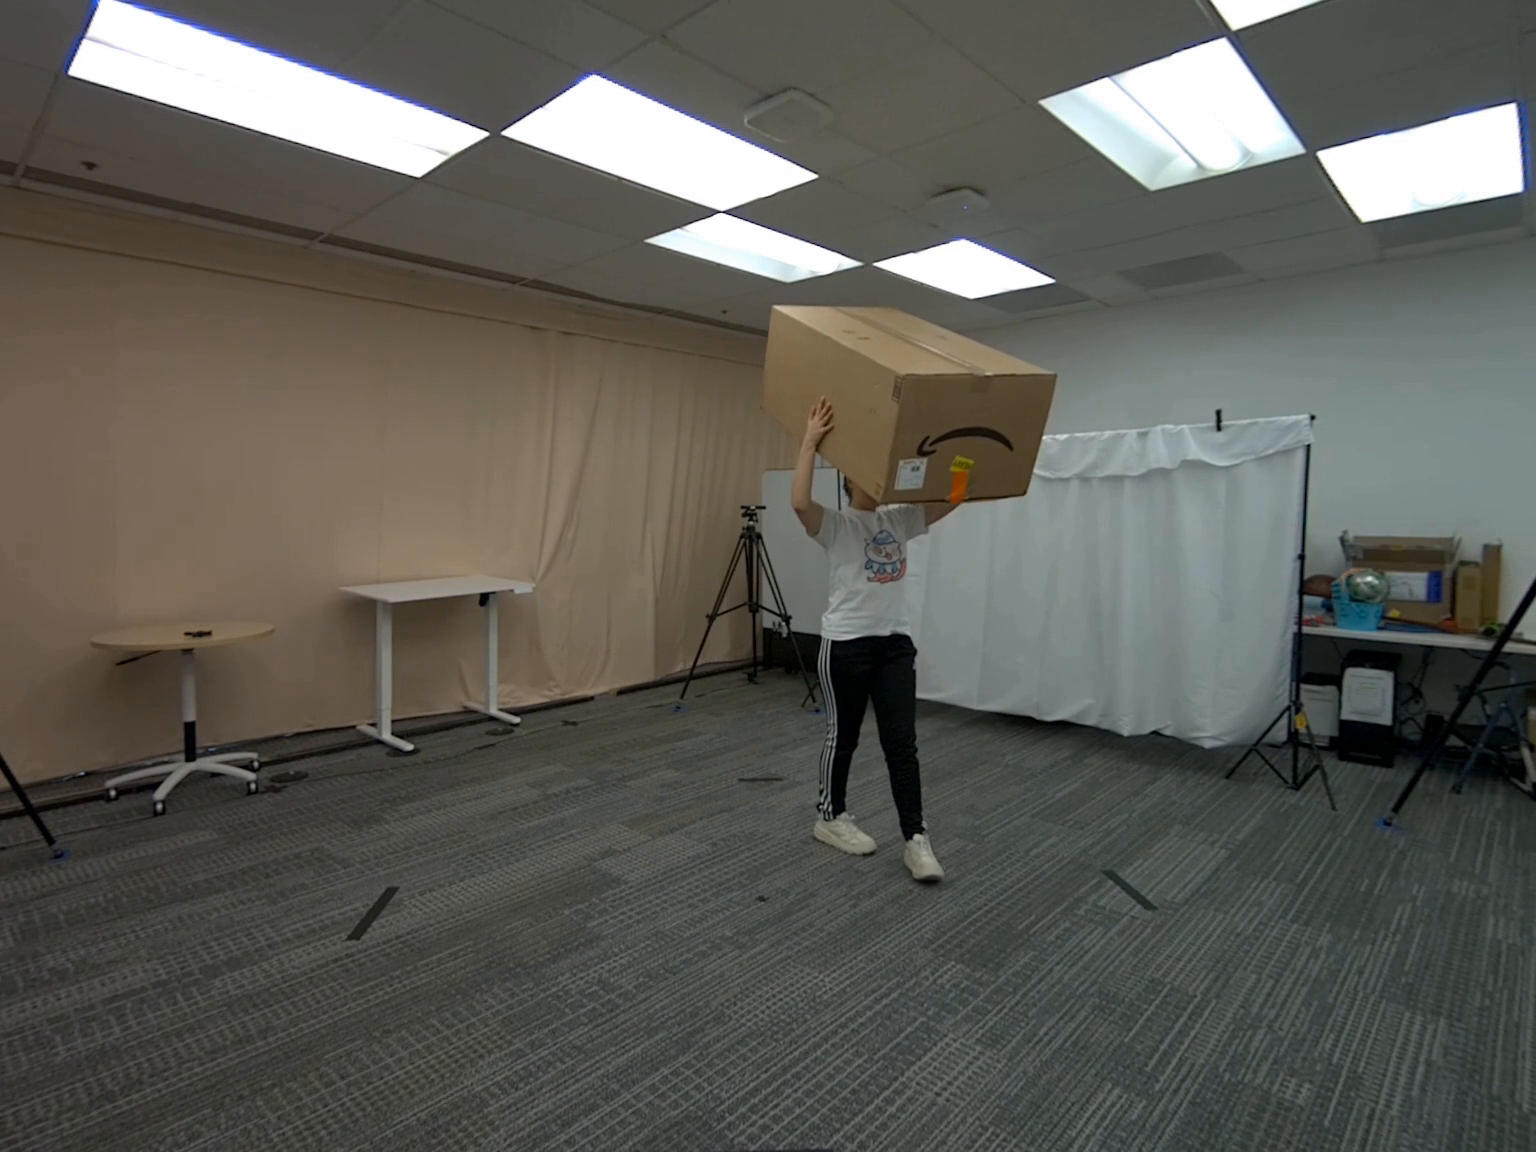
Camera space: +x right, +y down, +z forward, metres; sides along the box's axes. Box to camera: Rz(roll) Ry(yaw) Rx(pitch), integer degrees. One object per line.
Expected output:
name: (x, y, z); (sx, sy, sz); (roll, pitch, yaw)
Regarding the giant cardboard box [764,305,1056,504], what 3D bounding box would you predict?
giant cardboard box: (0.456, -0.669, 3.105); (0.572, 0.442, 1.060); (-4, 29, -22)
